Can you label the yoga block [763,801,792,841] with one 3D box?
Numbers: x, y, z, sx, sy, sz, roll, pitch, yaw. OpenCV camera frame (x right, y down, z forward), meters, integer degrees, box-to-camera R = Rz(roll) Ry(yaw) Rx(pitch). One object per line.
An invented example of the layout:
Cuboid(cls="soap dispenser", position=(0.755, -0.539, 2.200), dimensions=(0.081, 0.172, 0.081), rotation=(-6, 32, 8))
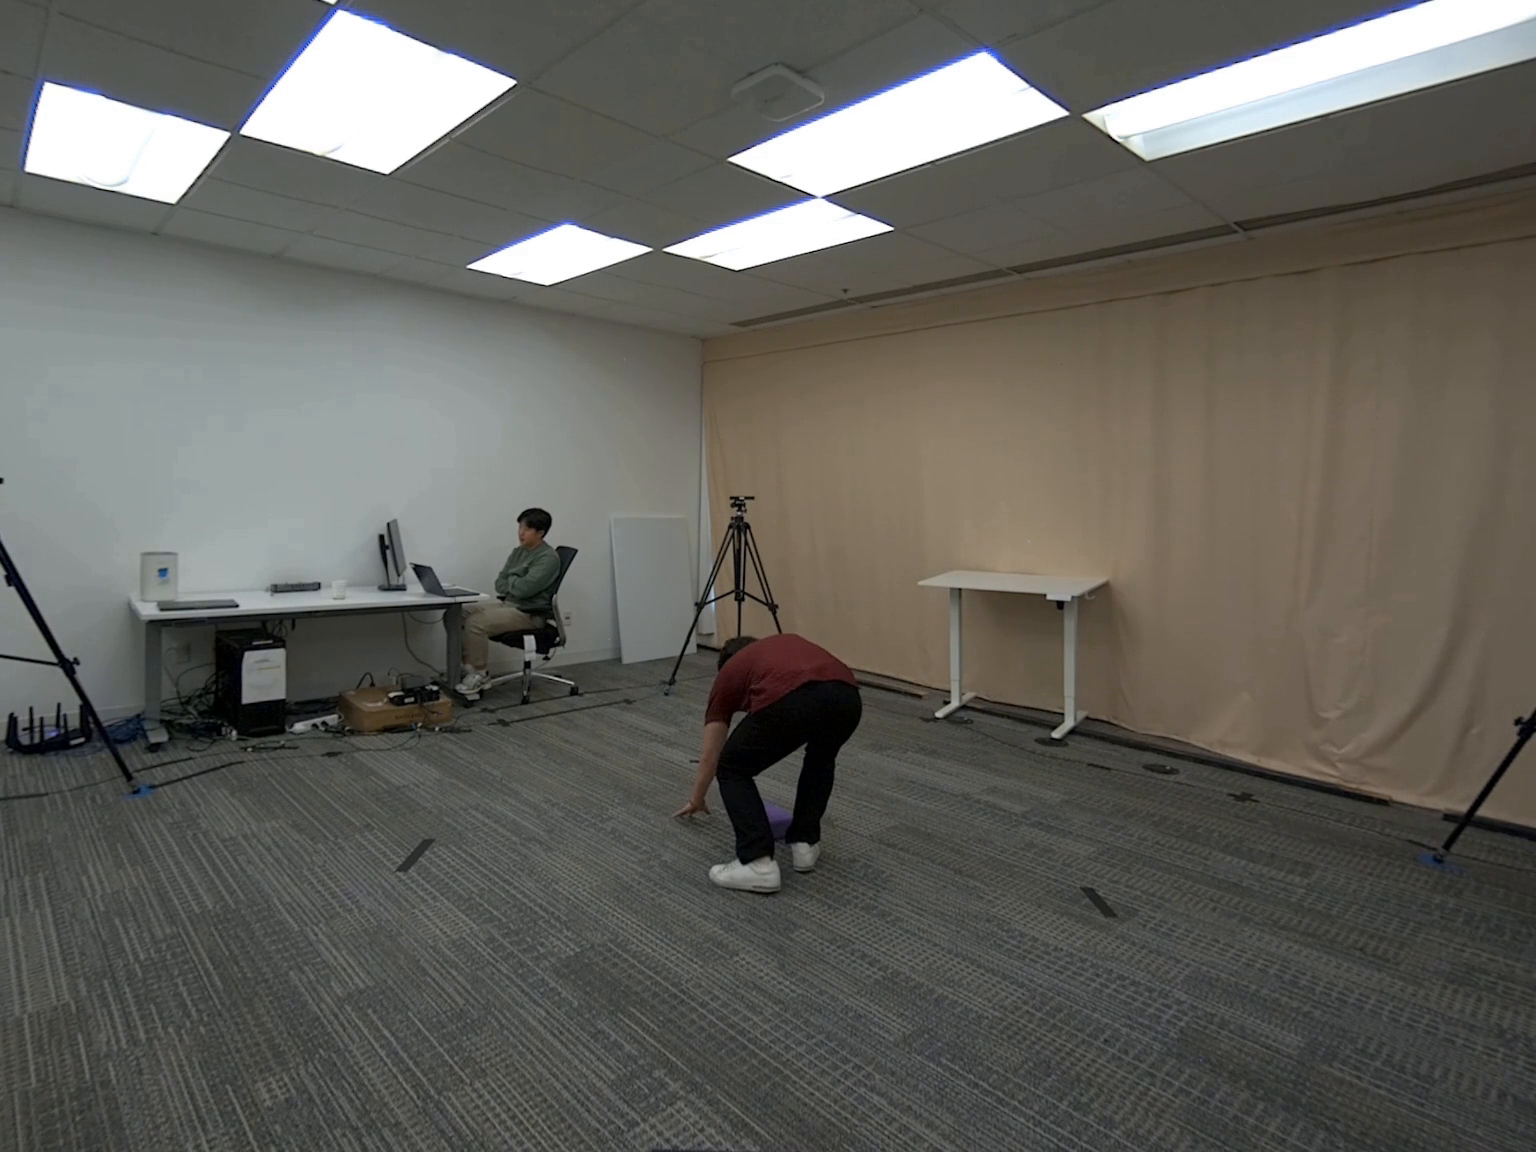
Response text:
Cuboid(cls="yoga block", position=(-0.007, 1.029, 3.546), dimensions=(0.146, 0.076, 0.234), rotation=(-1, 4, -32))
